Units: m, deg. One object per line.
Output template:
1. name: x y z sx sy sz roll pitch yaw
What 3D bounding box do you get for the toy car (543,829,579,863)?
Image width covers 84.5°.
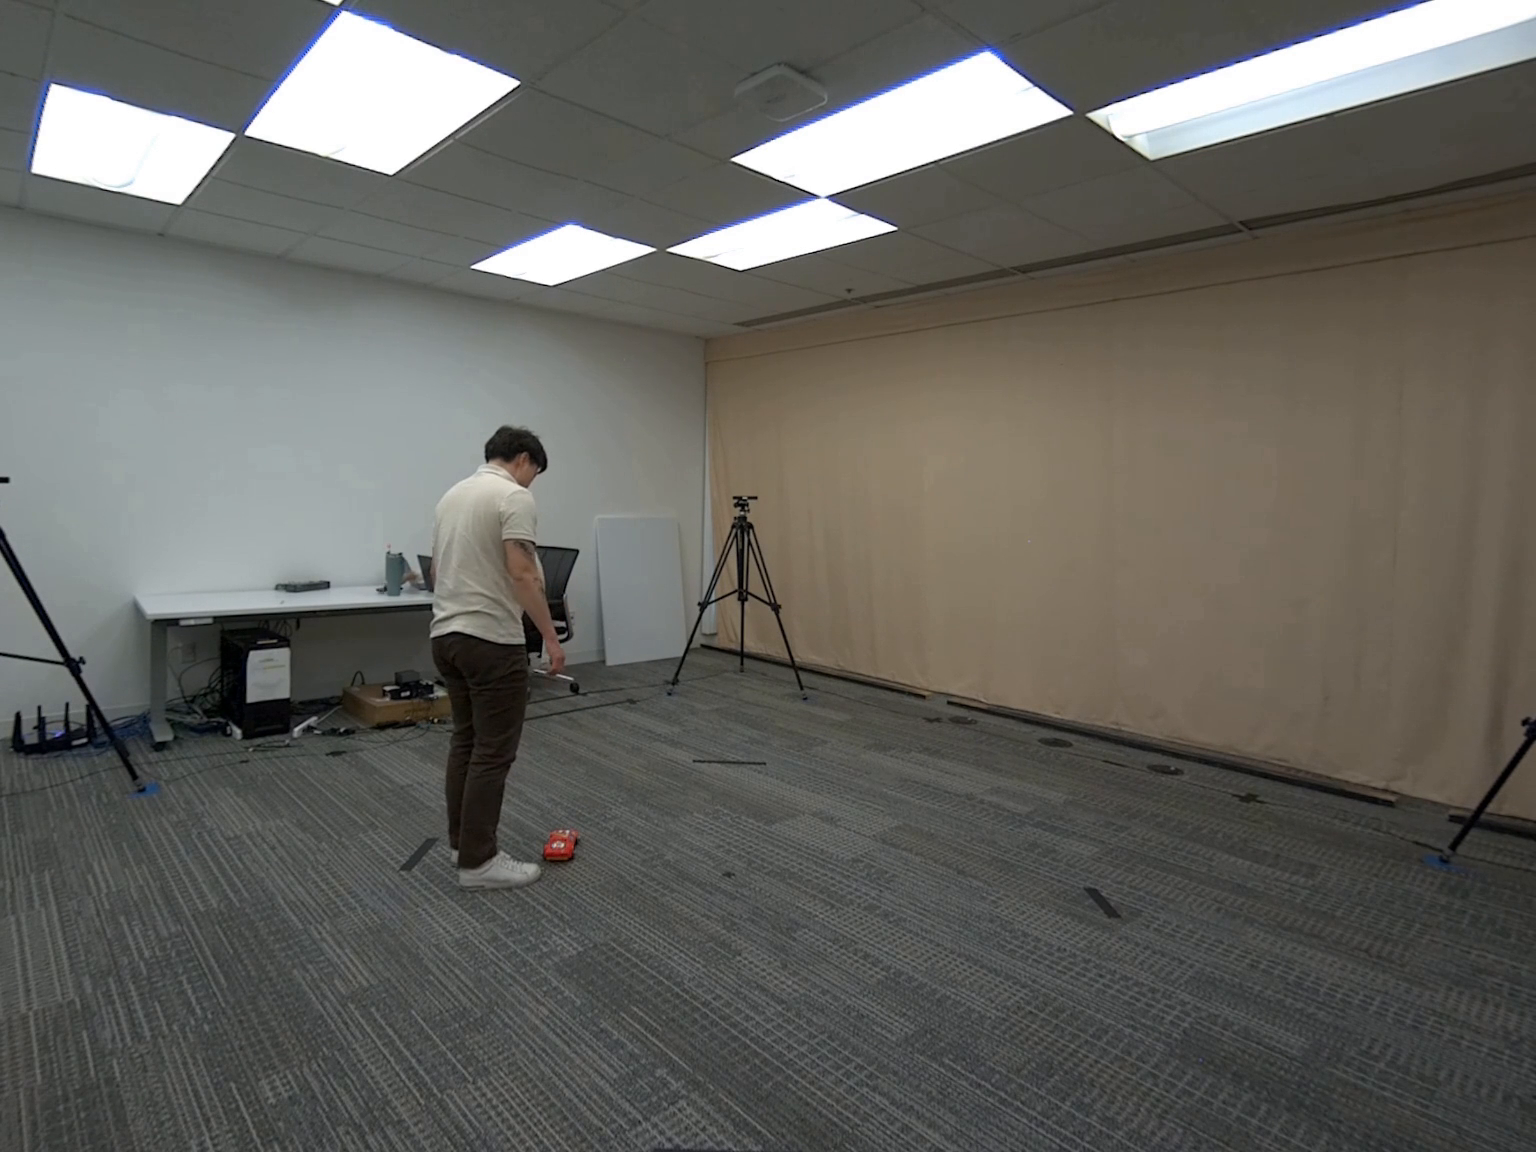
1. toy car: -0.808 1.046 3.251 0.130 0.083 0.254 1 -5 -6
